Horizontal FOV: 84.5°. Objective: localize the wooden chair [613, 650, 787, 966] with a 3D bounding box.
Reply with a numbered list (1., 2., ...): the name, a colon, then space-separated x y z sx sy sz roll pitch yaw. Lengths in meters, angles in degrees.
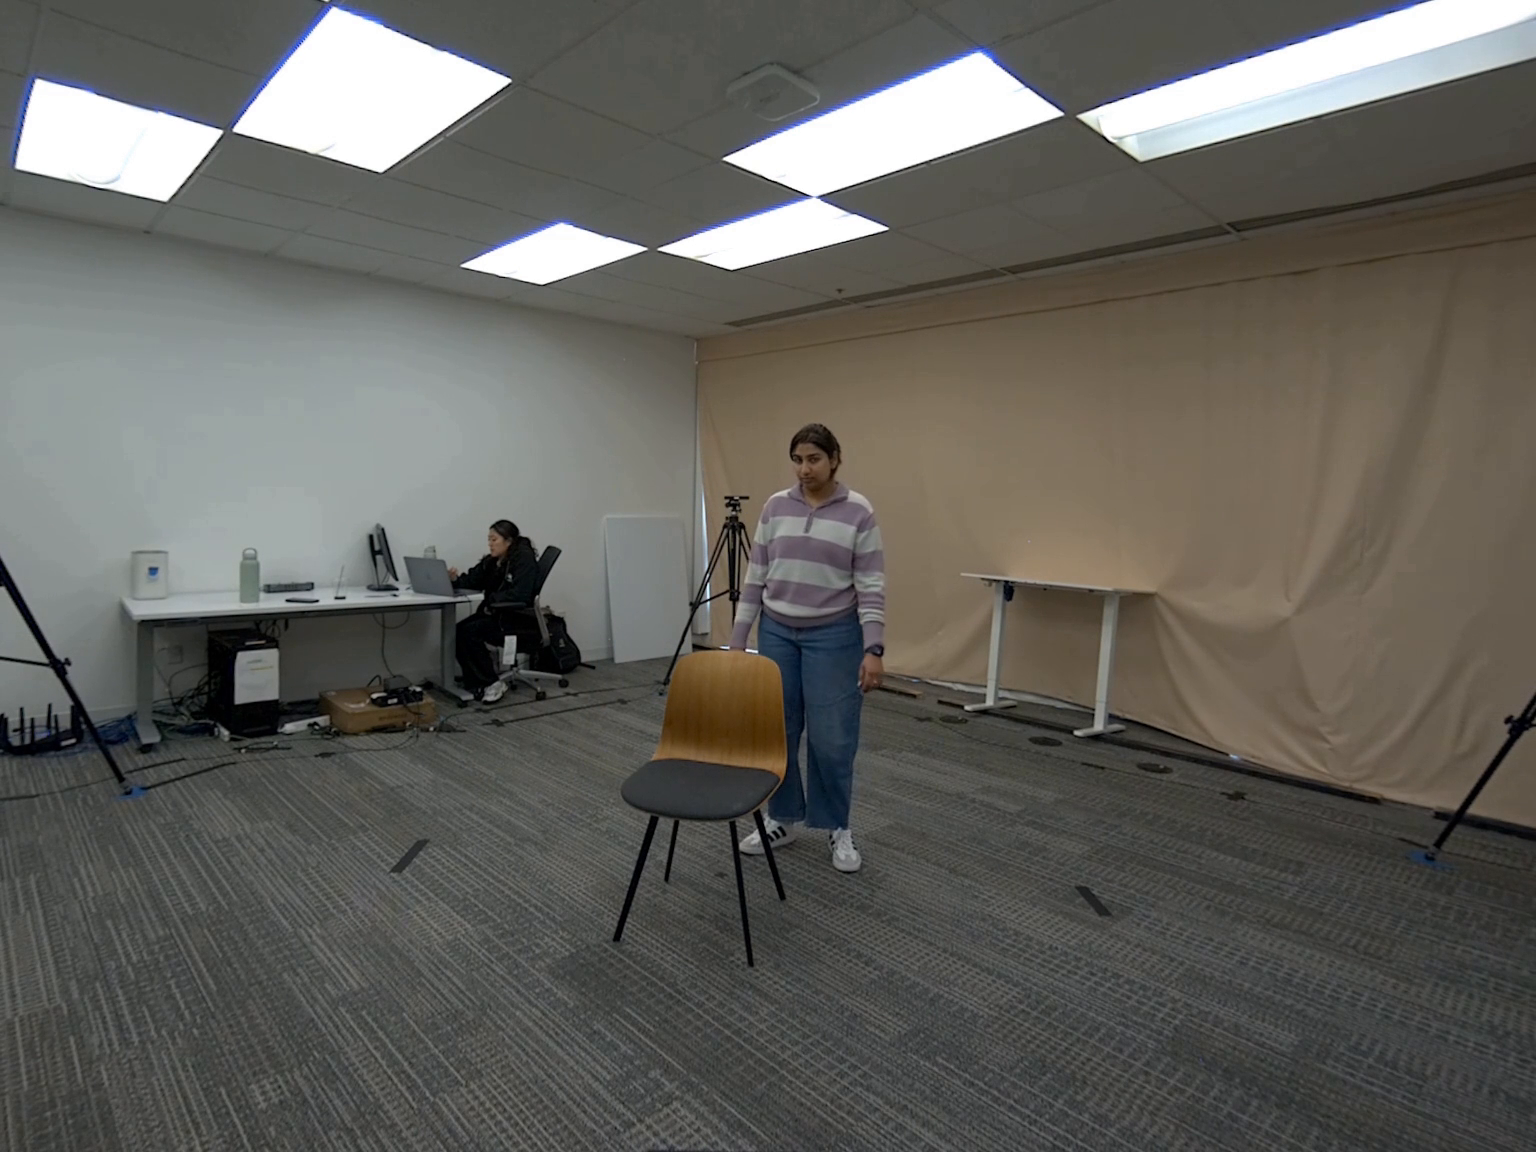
1. wooden chair: -0.208 0.710 2.734 0.484 0.878 0.516 2 0 15
